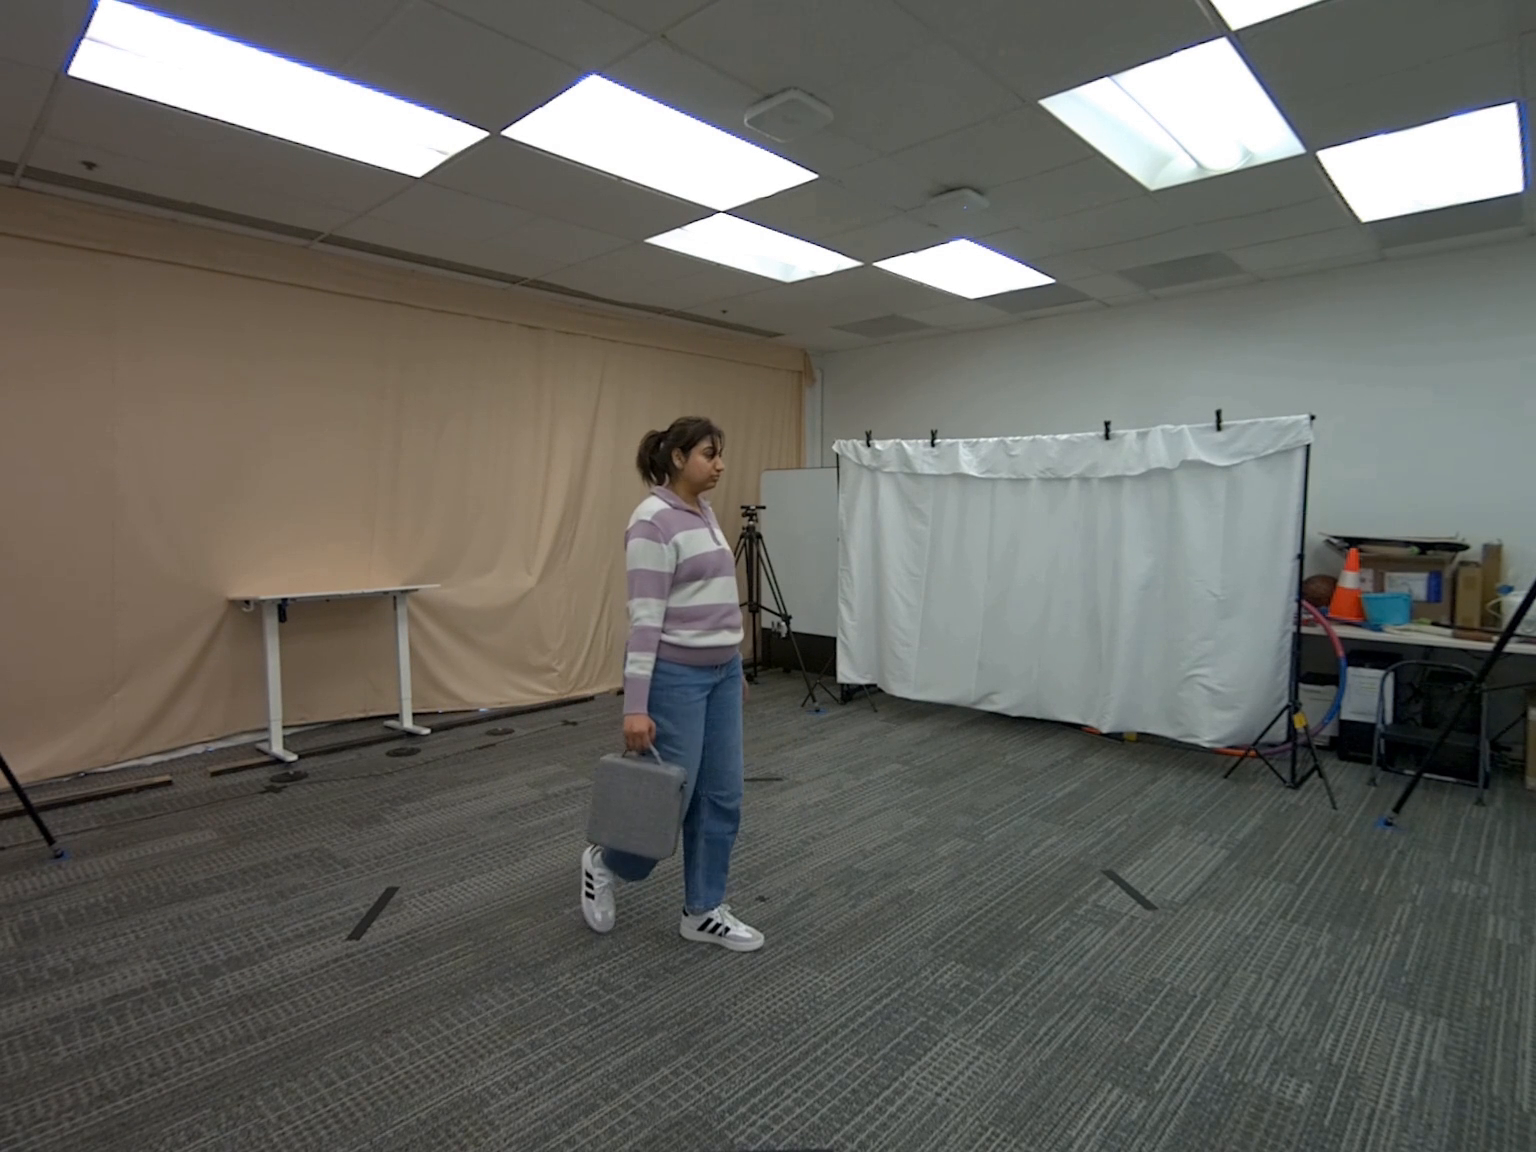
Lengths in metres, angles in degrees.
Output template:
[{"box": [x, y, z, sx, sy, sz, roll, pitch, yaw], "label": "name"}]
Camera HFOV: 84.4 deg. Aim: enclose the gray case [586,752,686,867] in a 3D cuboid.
[{"box": [-0.358, 0.636, 2.372, 0.262, 0.261, 0.102, 5, -3, 17], "label": "gray case"}]
